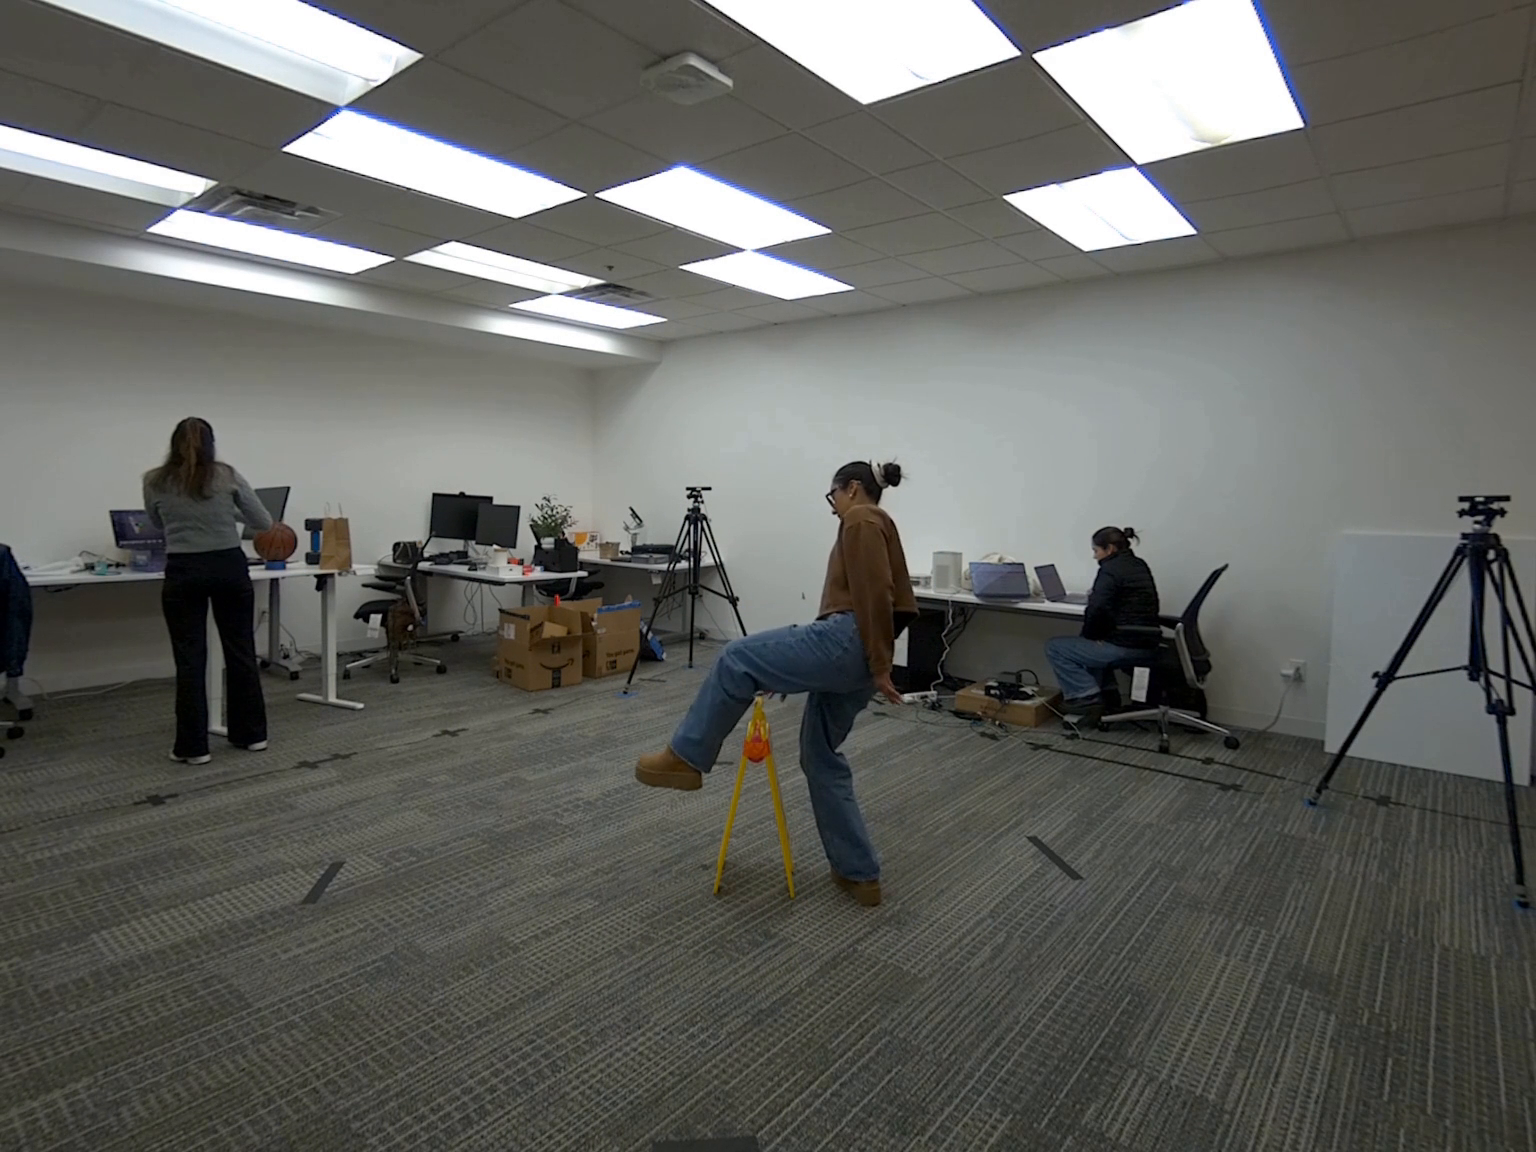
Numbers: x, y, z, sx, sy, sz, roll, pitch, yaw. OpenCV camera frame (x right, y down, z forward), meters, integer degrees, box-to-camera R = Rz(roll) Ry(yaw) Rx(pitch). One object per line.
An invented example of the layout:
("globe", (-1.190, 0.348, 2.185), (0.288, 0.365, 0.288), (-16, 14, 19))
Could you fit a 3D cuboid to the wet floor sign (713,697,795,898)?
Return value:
("wet floor sign", (-0.045, 0.766, 3.023), (0.291, 0.644, 0.282), (2, 3, 3))
